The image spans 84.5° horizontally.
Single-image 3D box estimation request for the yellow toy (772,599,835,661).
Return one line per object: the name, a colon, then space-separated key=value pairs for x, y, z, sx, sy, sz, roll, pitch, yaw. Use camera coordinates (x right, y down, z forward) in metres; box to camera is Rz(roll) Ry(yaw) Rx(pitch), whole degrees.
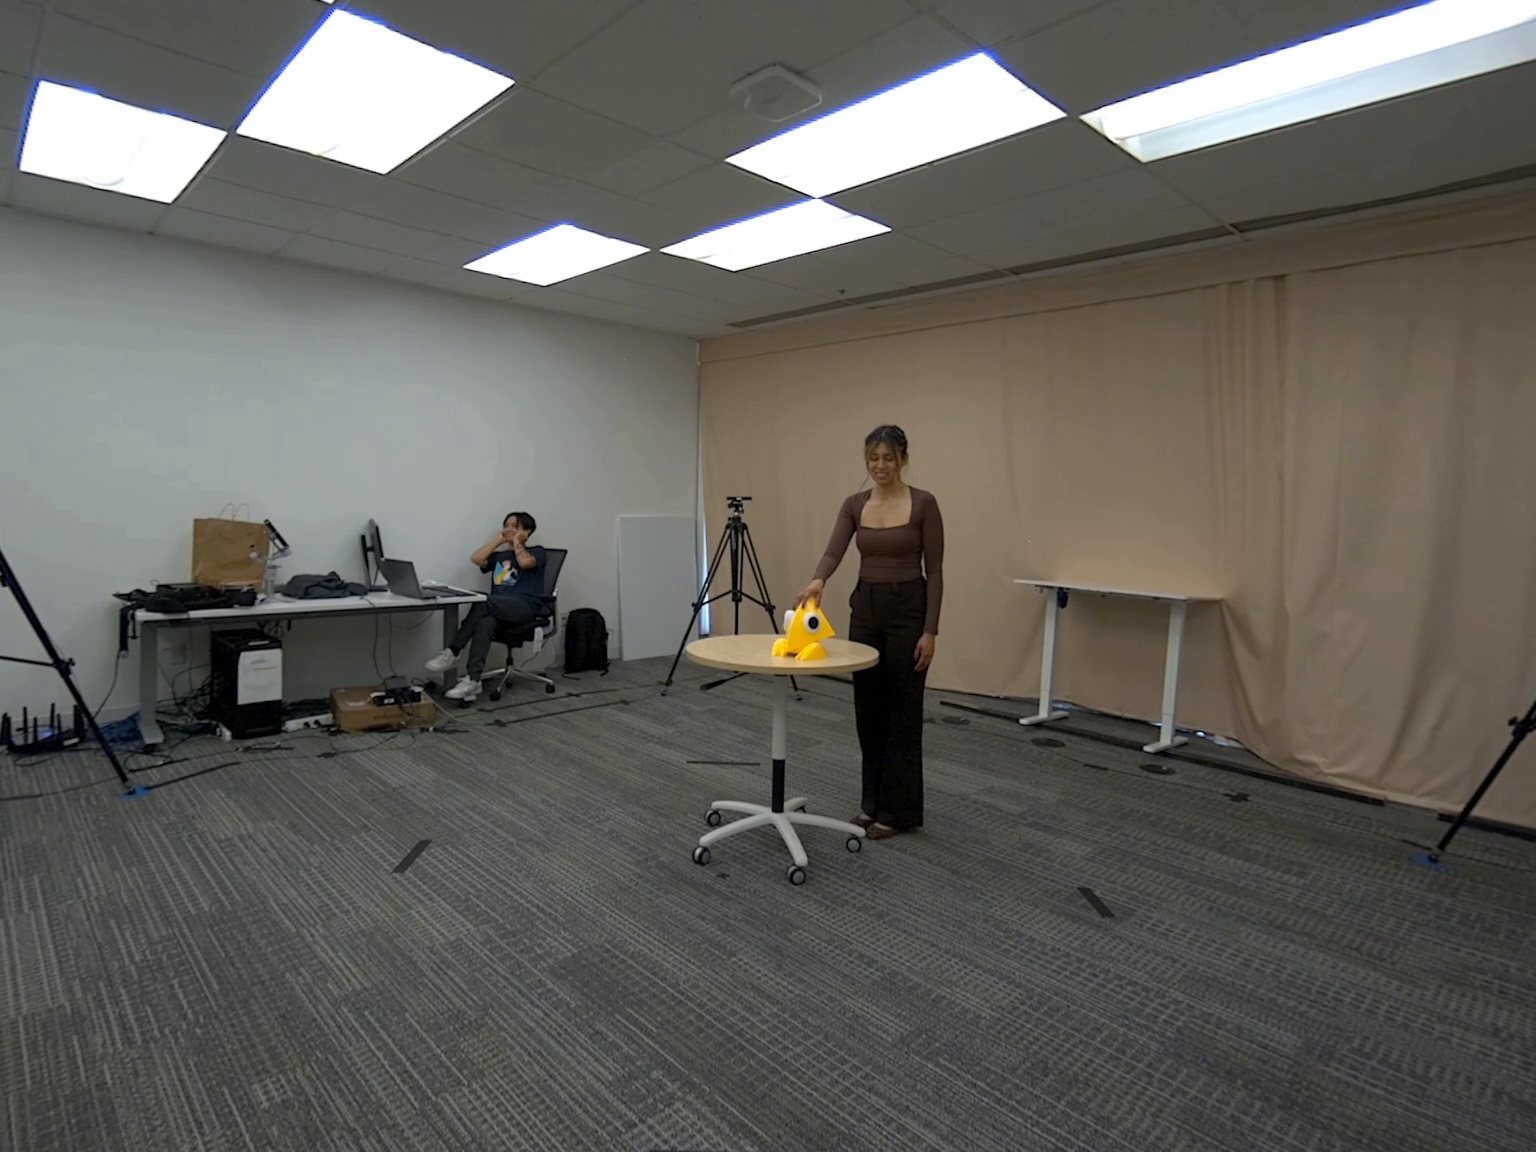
yellow toy: x=0.119 y=0.189 z=3.223 sx=0.209 sy=0.230 sz=0.189 roll=3 pitch=4 yaw=35
